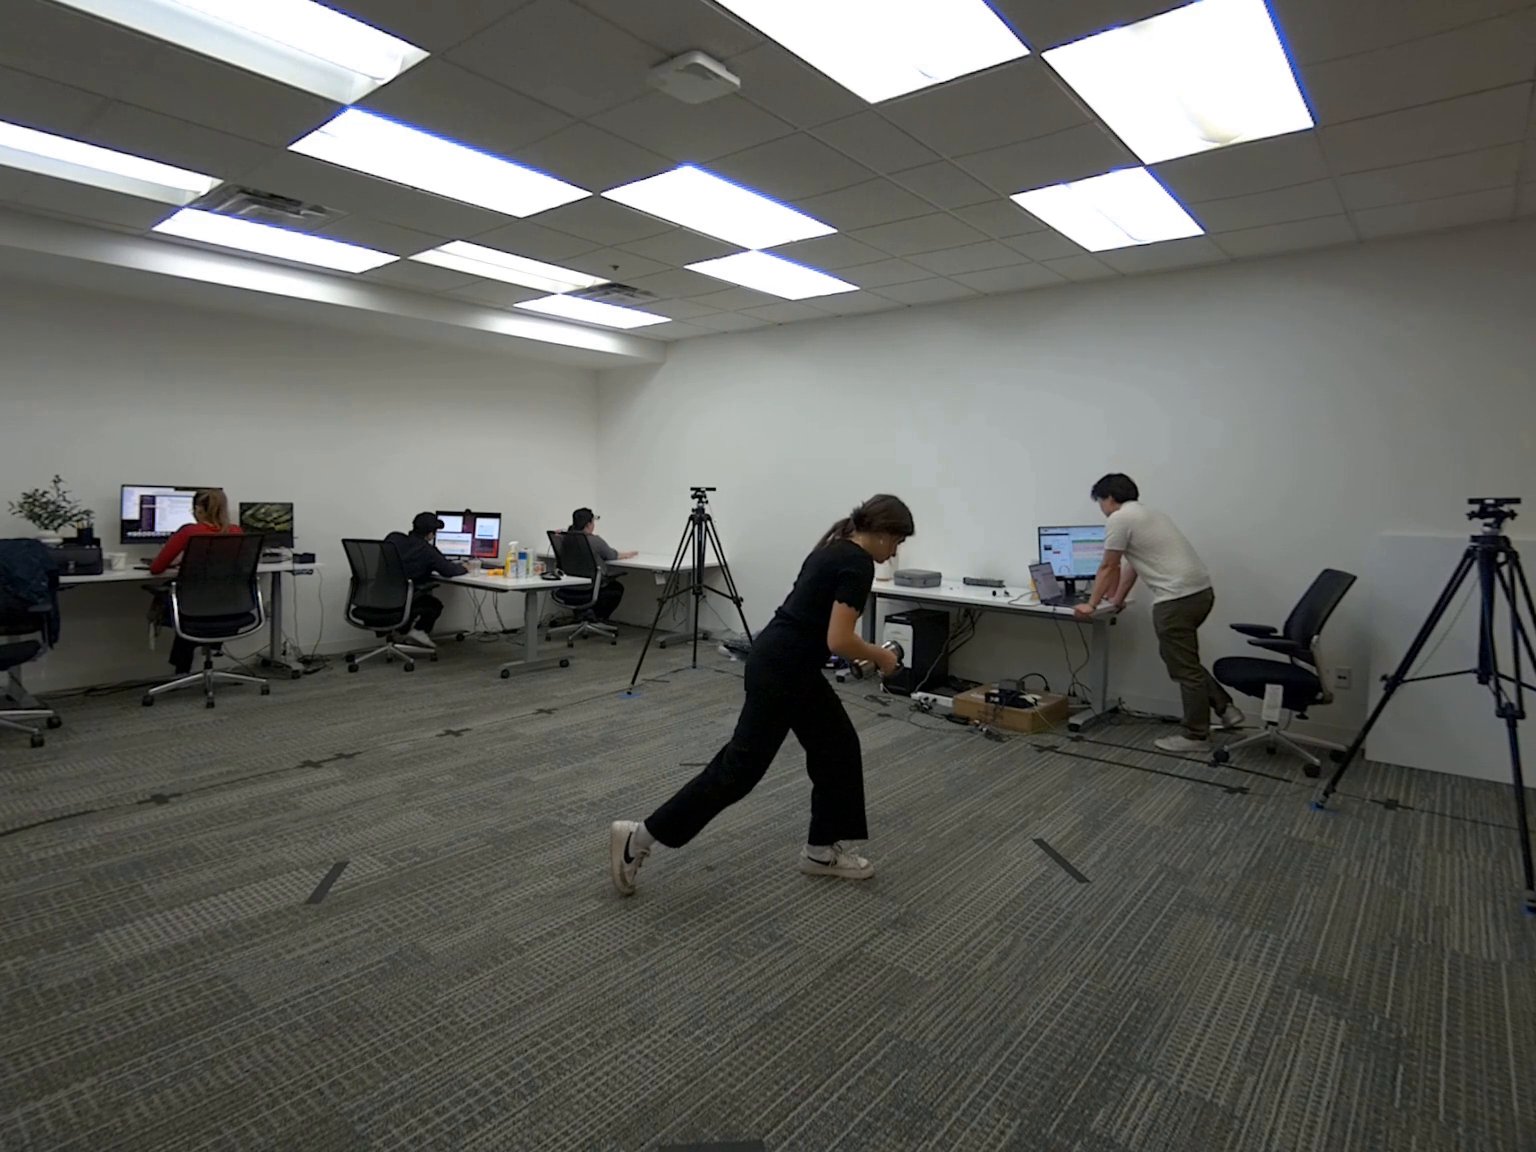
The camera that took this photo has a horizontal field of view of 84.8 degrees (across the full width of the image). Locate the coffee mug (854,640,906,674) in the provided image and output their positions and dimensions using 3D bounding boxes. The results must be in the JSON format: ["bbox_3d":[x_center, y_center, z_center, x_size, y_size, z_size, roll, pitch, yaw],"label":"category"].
[{"bbox_3d":[0.409,0.332,3.187,0.200,0.085,0.127,-25,39,-25],"label":"coffee mug"}]
